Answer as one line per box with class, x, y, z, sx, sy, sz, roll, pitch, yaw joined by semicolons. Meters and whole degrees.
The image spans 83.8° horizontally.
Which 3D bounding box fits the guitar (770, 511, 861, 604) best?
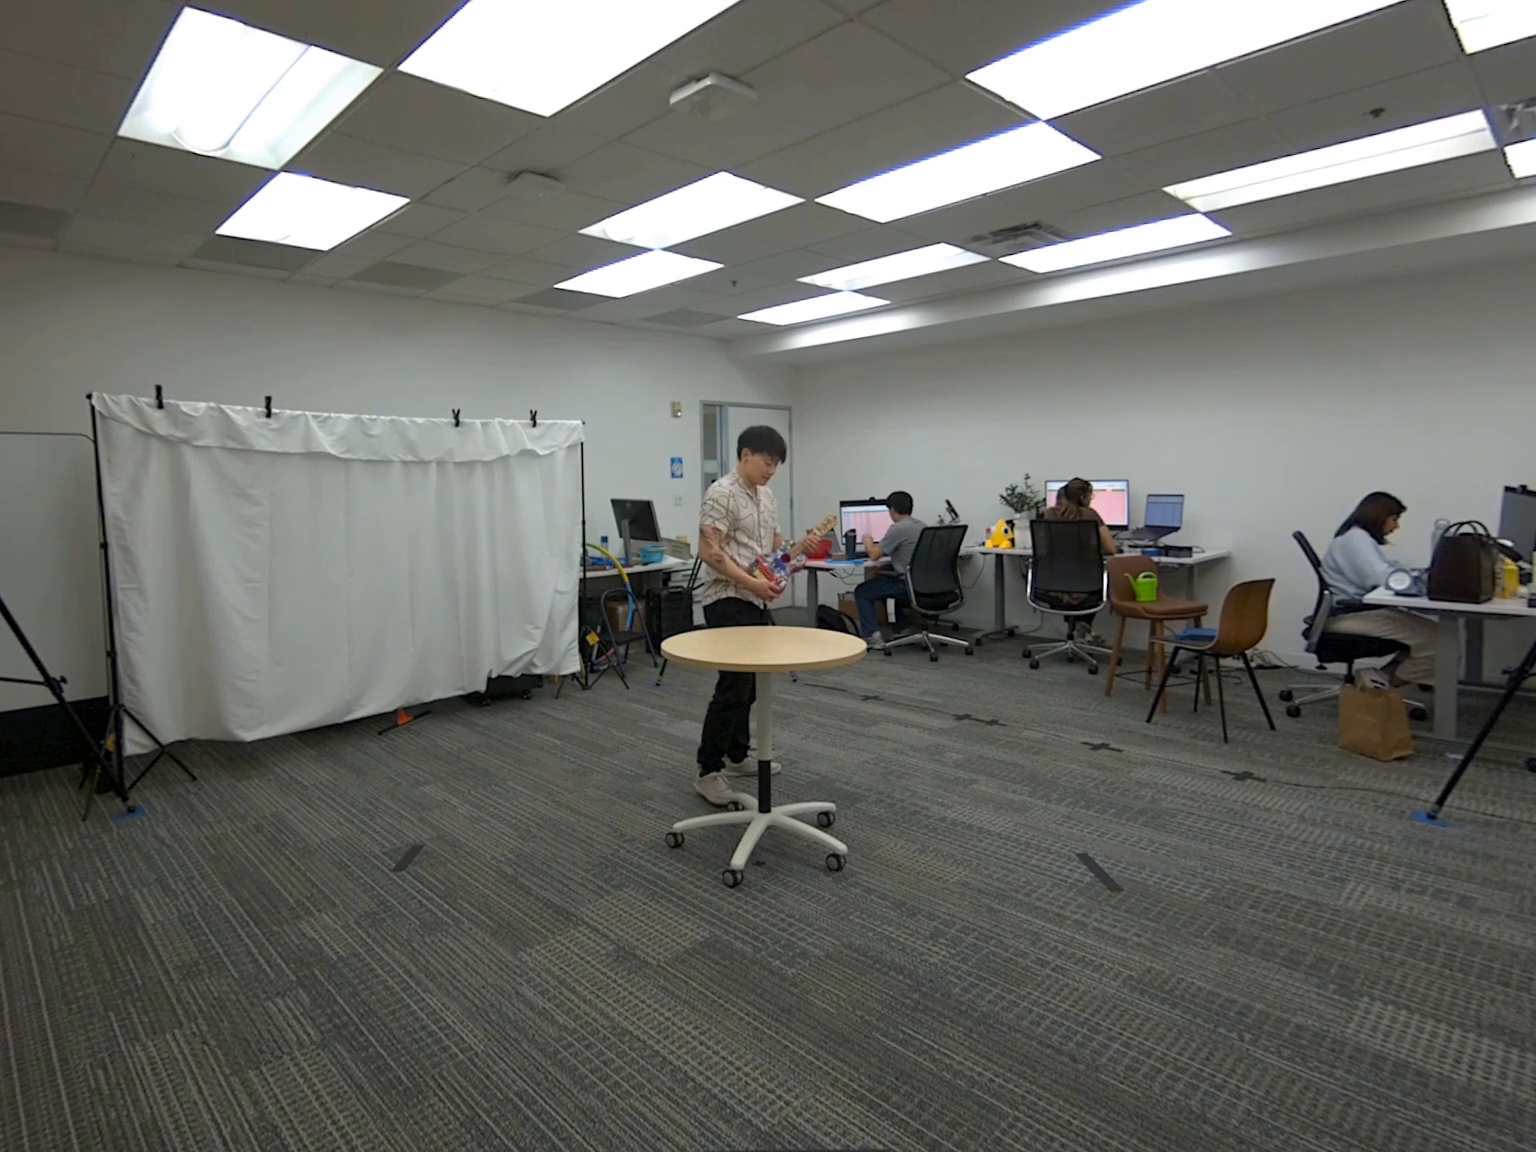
guitar;0.149;-0.087;3.821;0.494;0.198;0.069;-31;-21;-18
